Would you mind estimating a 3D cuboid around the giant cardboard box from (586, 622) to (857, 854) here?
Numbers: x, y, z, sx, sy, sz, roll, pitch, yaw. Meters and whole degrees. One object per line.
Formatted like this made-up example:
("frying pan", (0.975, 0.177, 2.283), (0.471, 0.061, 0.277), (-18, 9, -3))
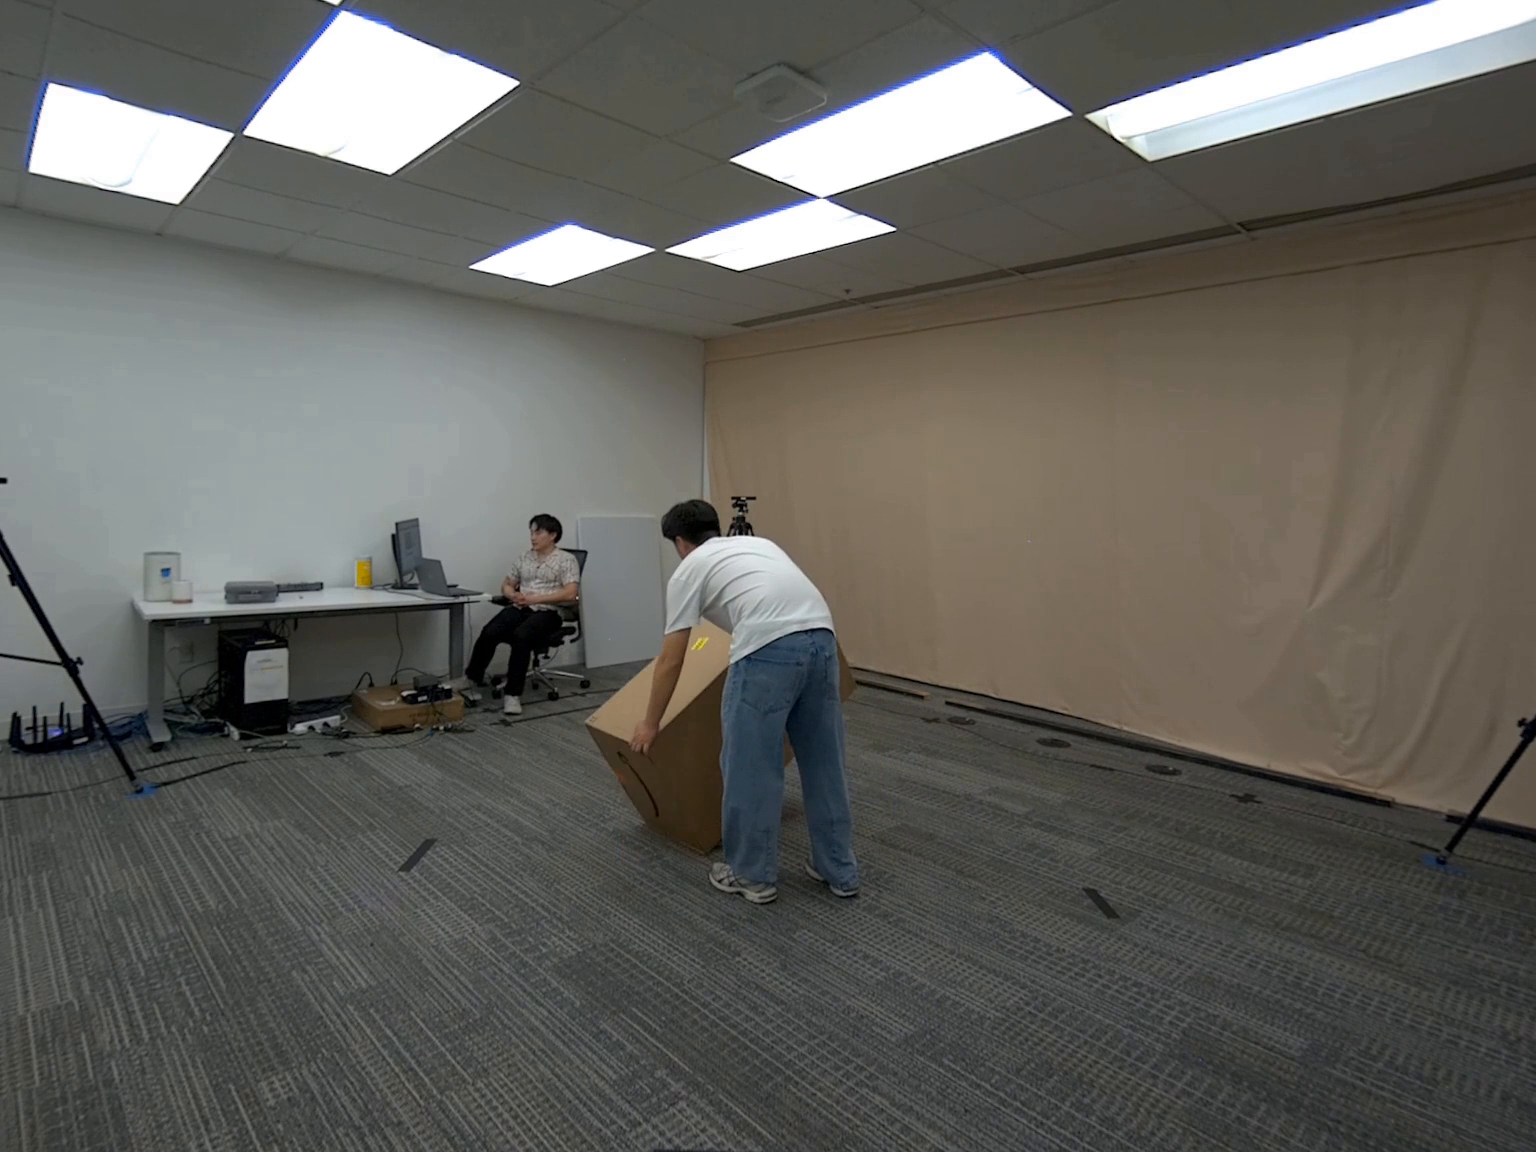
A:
("giant cardboard box", (-0.175, 0.551, 3.569), (0.437, 0.564, 1.022), (7, 40, 48))
